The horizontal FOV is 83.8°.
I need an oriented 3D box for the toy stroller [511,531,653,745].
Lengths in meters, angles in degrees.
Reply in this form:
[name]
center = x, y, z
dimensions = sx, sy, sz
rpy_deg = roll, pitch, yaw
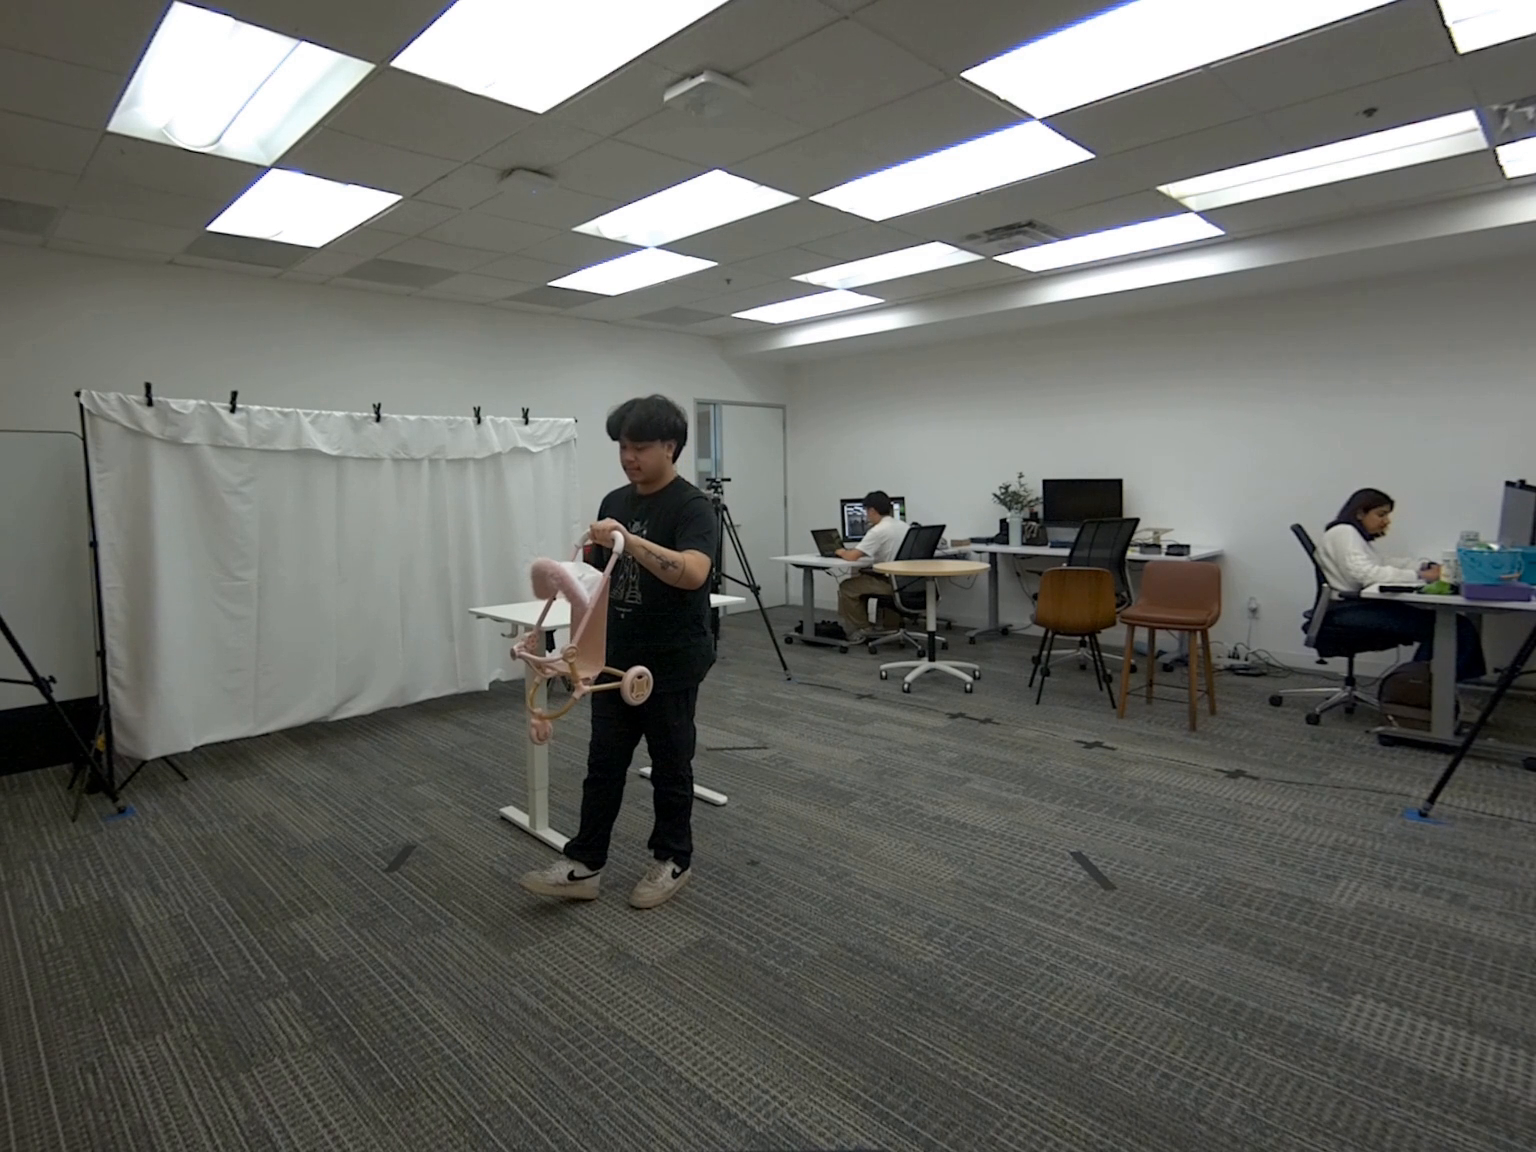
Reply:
[toy stroller]
center = -0.550, 0.169, 2.363
dimensions = 0.334, 0.528, 0.291
rpy_deg = -16, 17, -39
